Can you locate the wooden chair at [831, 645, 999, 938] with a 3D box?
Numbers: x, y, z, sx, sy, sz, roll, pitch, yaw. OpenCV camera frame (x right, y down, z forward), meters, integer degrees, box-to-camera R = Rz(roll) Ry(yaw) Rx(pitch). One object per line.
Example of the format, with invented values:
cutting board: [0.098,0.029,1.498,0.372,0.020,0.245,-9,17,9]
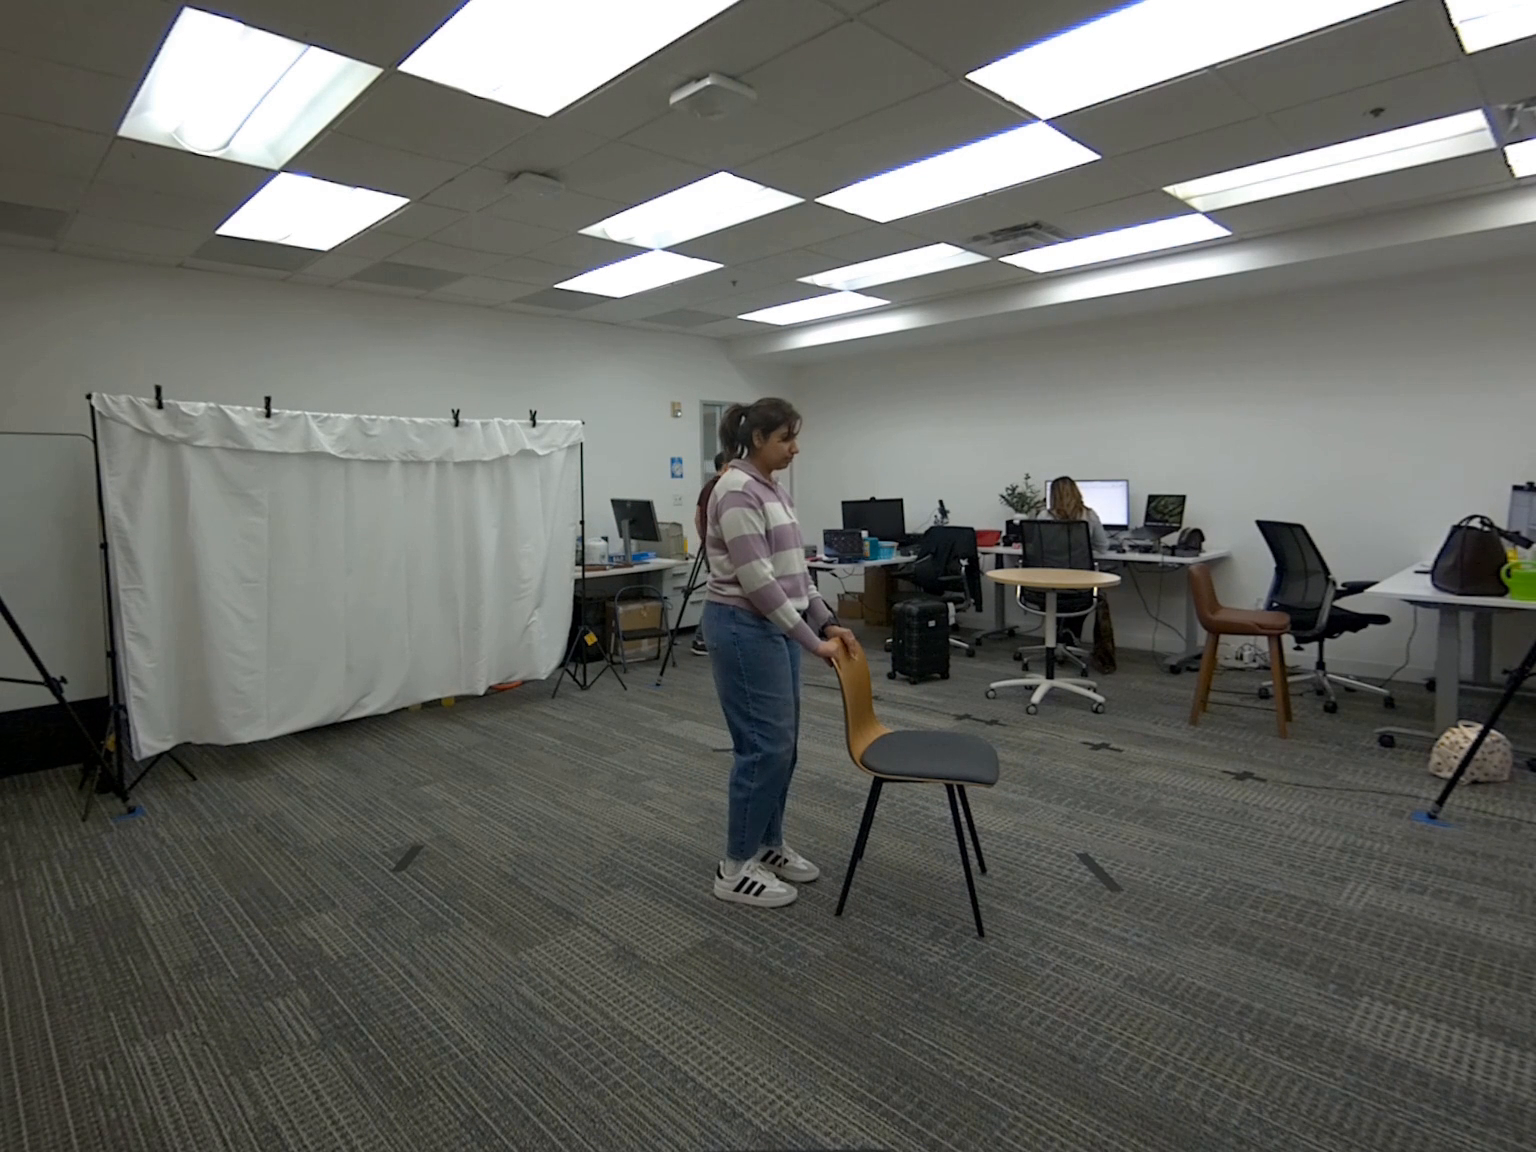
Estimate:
wooden chair: [0.491,0.629,2.840,0.531,0.876,0.471,-4,2,17]
